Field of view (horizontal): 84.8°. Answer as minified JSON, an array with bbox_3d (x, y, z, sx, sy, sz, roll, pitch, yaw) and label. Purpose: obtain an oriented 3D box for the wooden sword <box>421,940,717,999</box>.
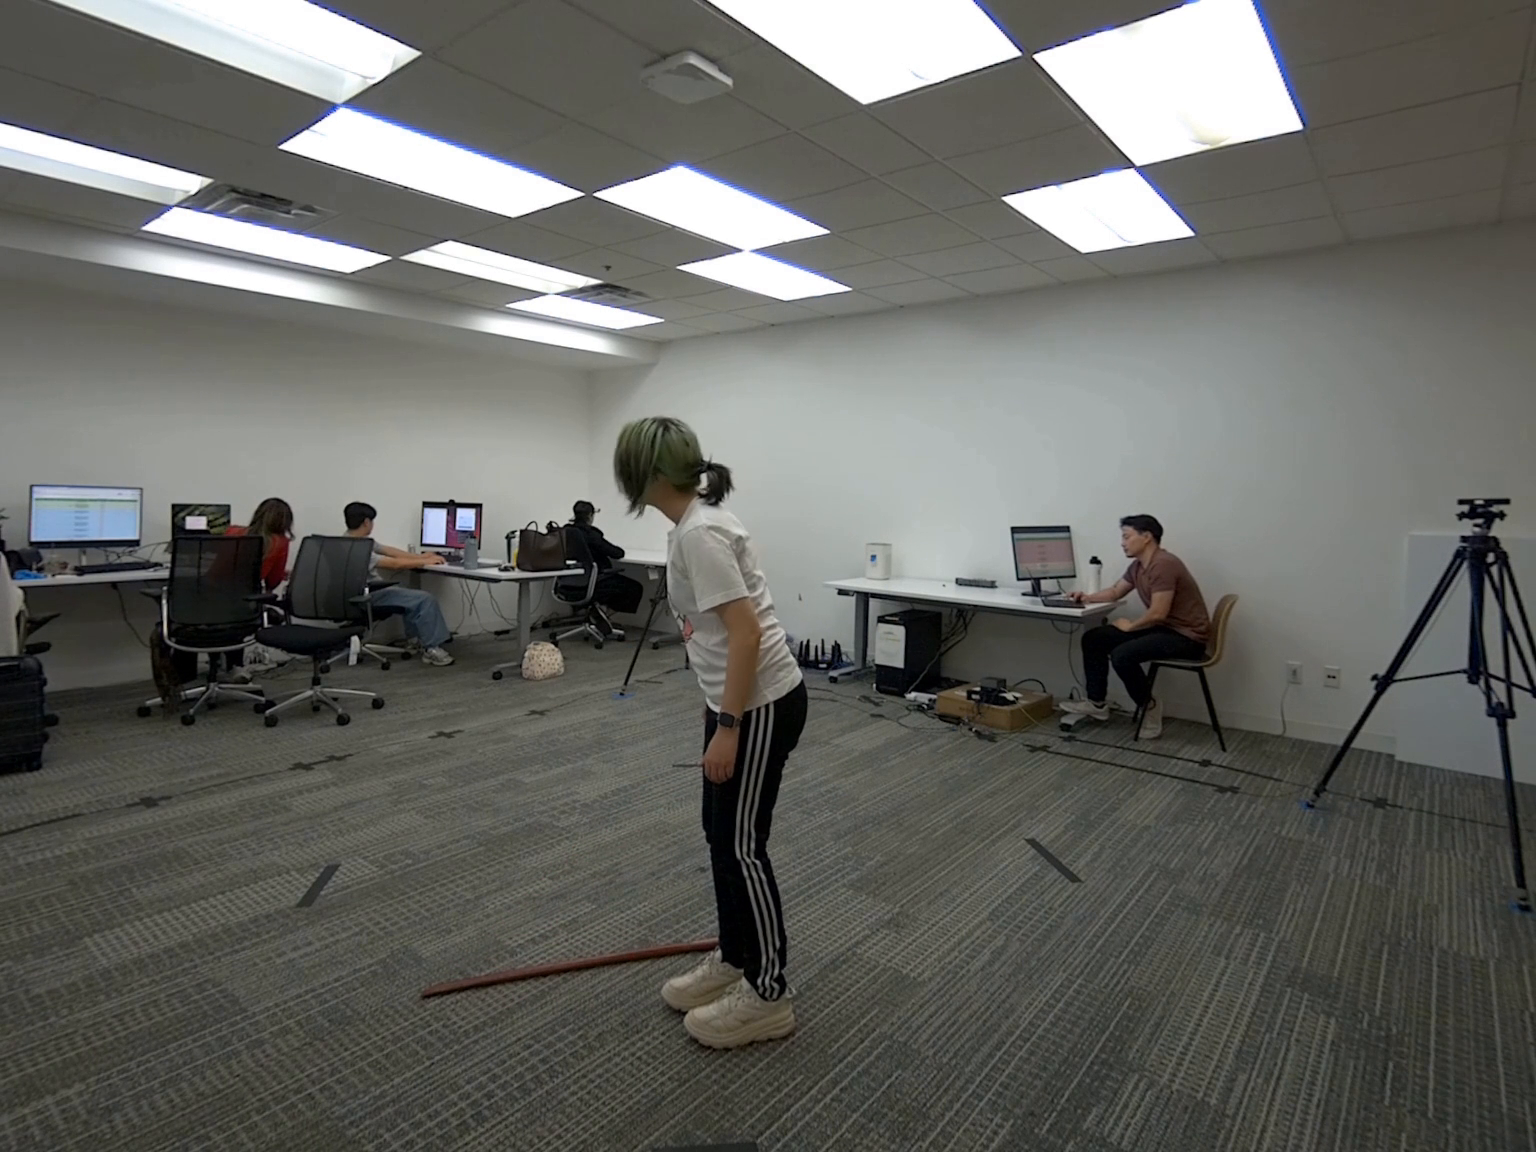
[{"bbox_3d":[-0.468,1.107,2.472,1.006,0.024,0.053,-1,21,-18],"label":"wooden sword"}]
